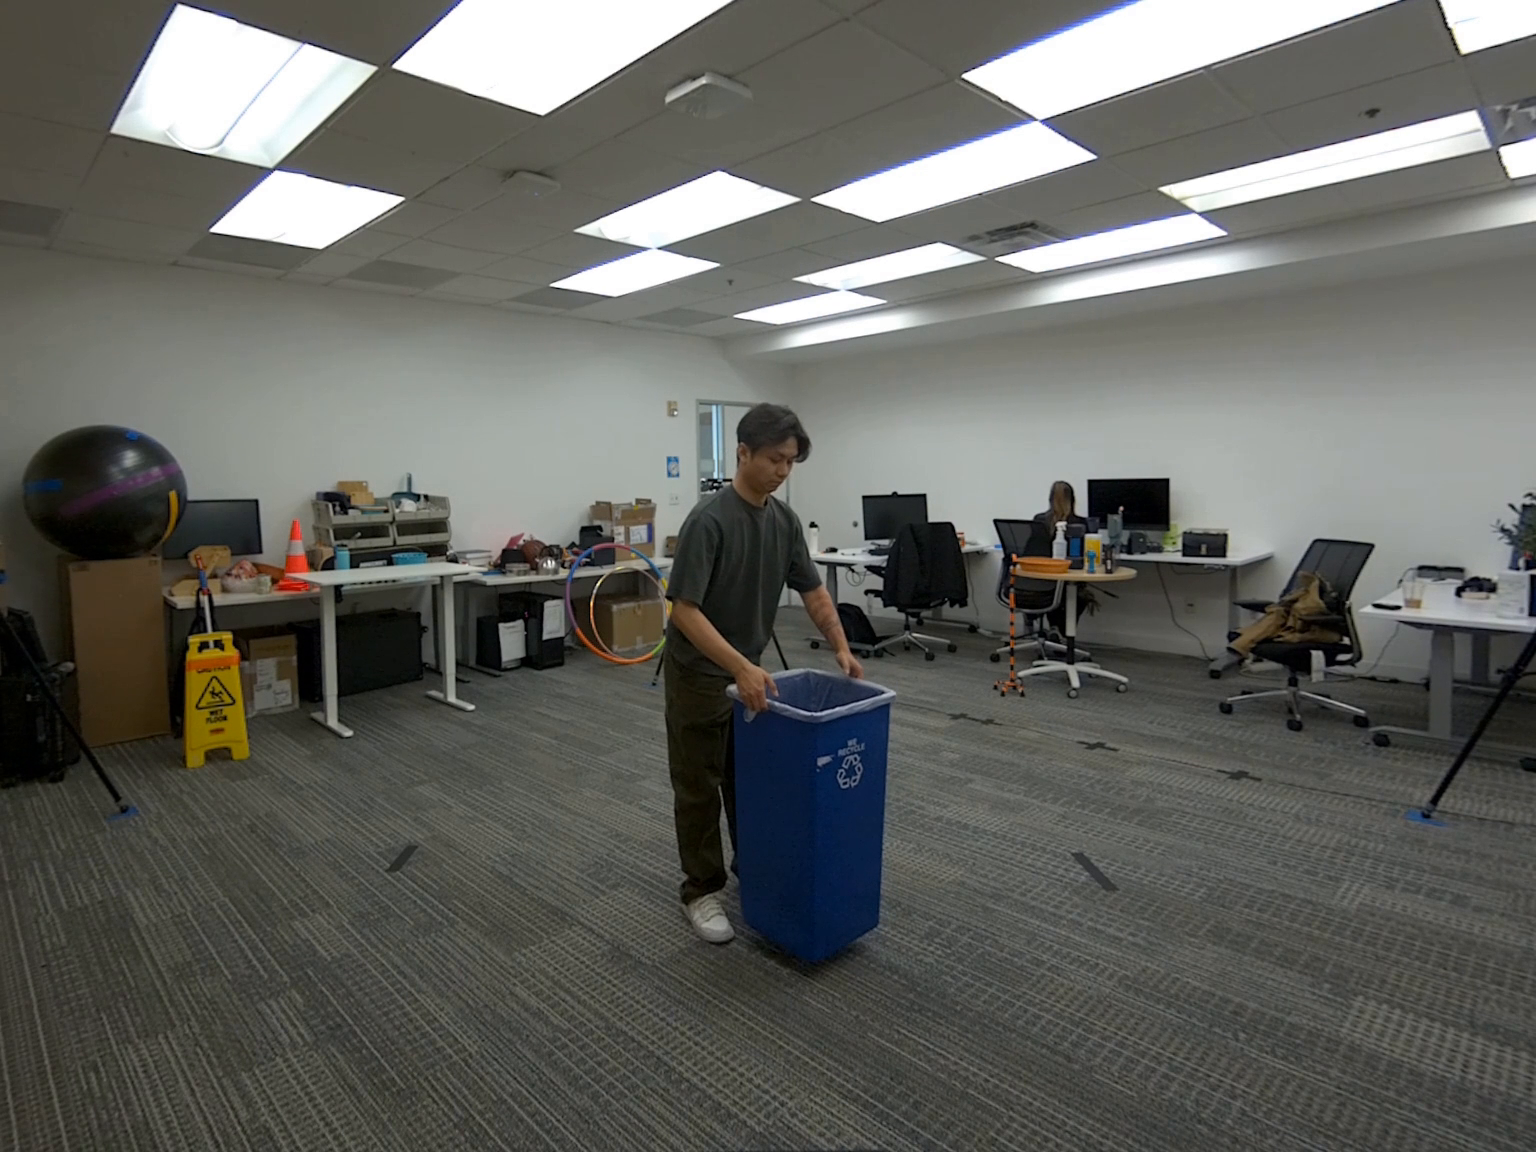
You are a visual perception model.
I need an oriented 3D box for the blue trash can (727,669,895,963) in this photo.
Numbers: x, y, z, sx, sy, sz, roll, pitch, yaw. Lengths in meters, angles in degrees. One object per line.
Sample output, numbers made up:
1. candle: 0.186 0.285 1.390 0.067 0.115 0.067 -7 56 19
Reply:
1. blue trash can: 0.132 0.684 2.530 0.364 0.709 0.390 -6 9 -42
